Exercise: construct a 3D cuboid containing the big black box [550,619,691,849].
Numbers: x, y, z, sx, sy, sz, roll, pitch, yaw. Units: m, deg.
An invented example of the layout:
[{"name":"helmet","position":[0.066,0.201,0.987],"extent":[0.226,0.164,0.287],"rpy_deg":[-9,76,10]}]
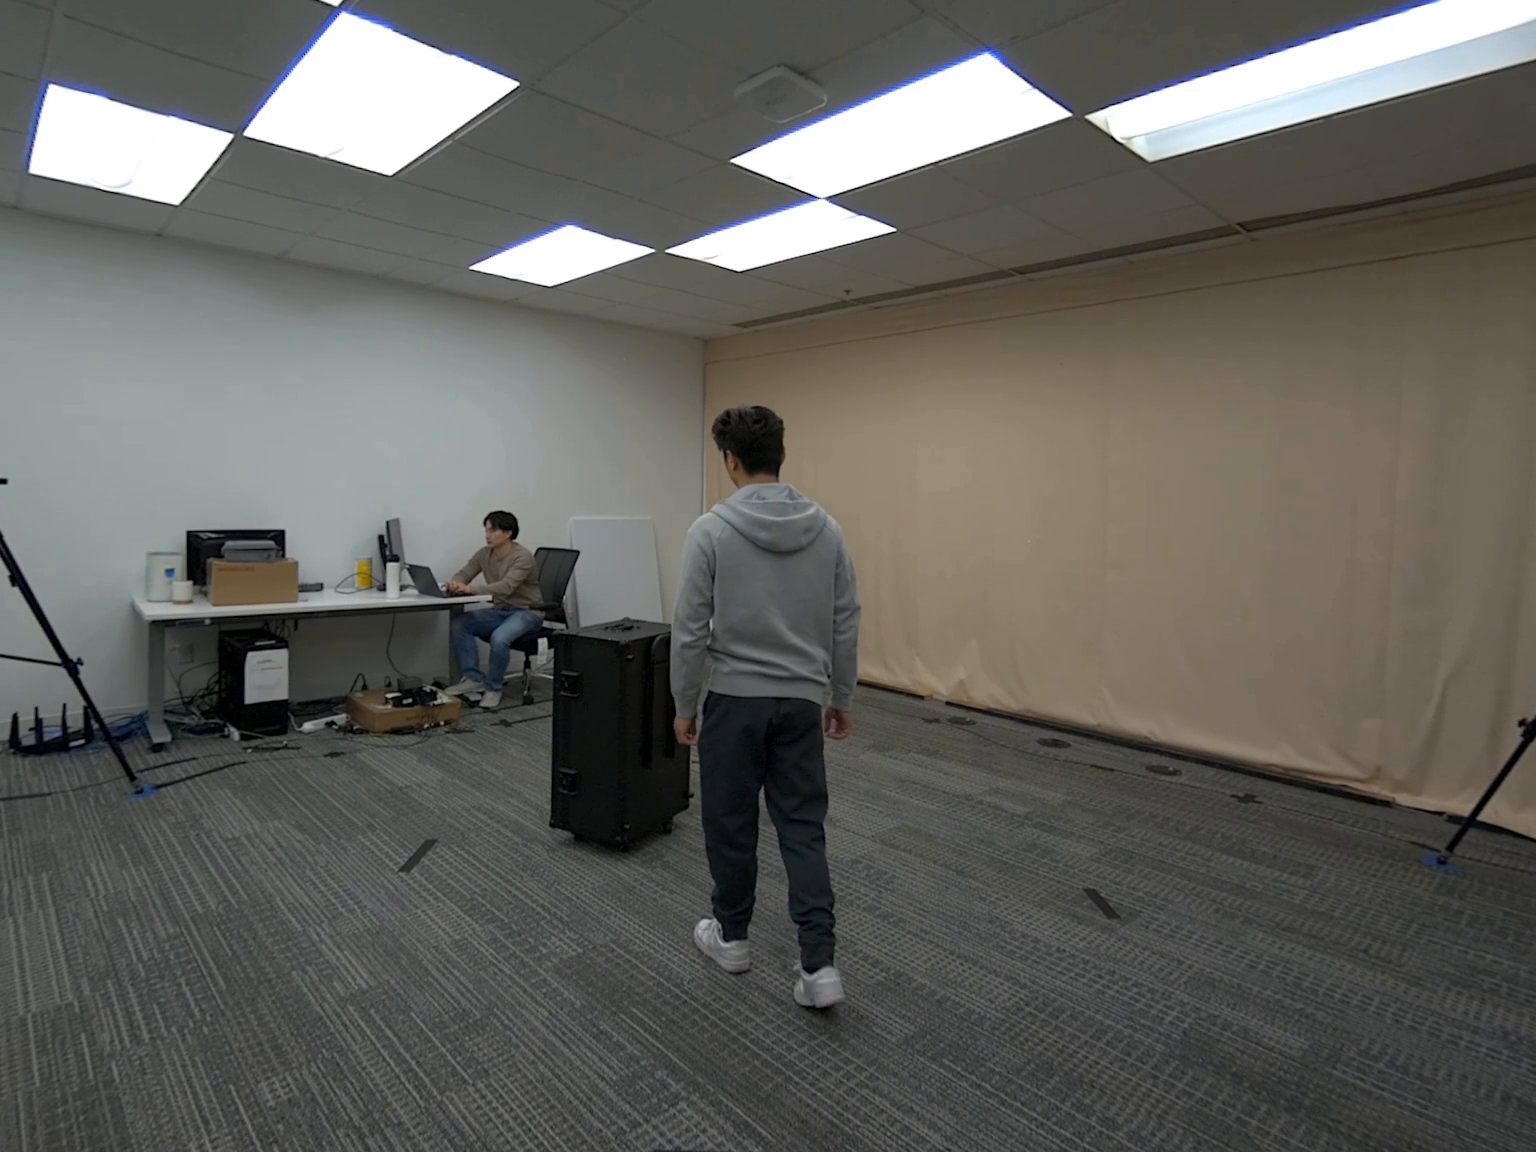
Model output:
[{"name":"big black box","position":[-0.589,0.641,3.450],"extent":[0.405,0.859,0.511],"rpy_deg":[5,4,28]}]
